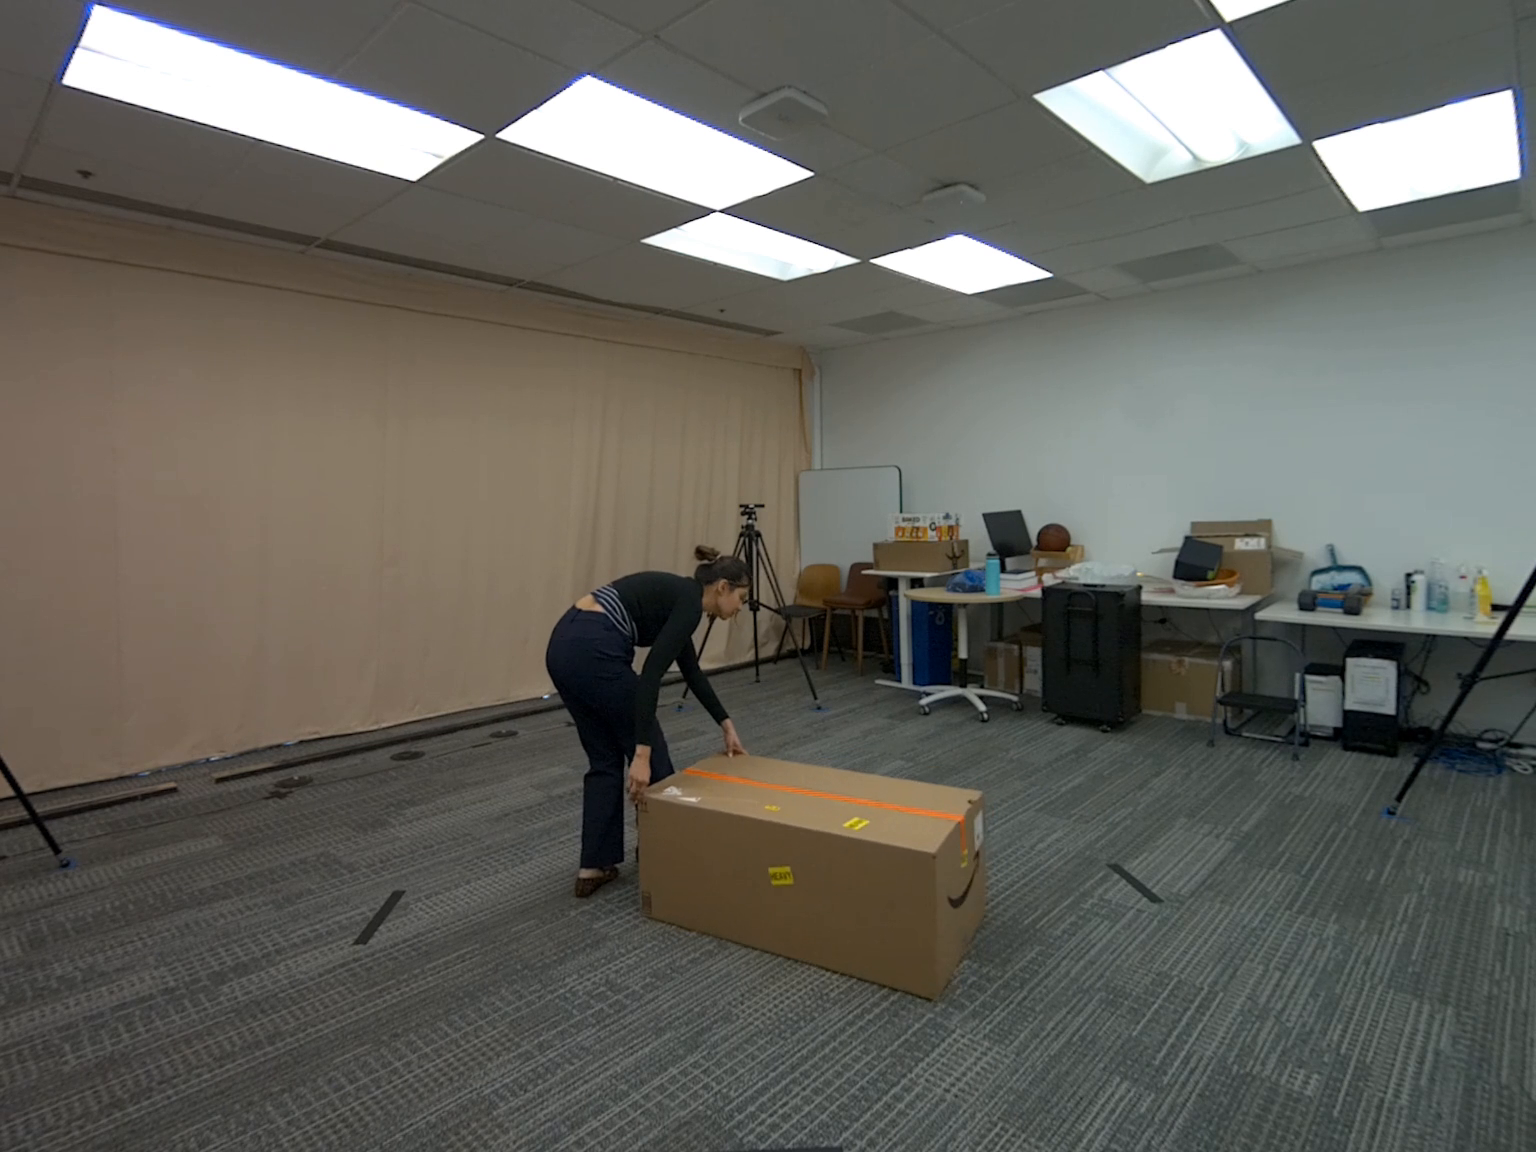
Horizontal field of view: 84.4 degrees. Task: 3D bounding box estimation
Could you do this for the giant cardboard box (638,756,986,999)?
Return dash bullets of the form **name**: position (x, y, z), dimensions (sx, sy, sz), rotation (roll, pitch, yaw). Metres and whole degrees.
- **giant cardboard box**: position (0.149, 0.934, 2.838), dimensions (1.055, 0.425, 0.563), rotation (2, 5, 30)
